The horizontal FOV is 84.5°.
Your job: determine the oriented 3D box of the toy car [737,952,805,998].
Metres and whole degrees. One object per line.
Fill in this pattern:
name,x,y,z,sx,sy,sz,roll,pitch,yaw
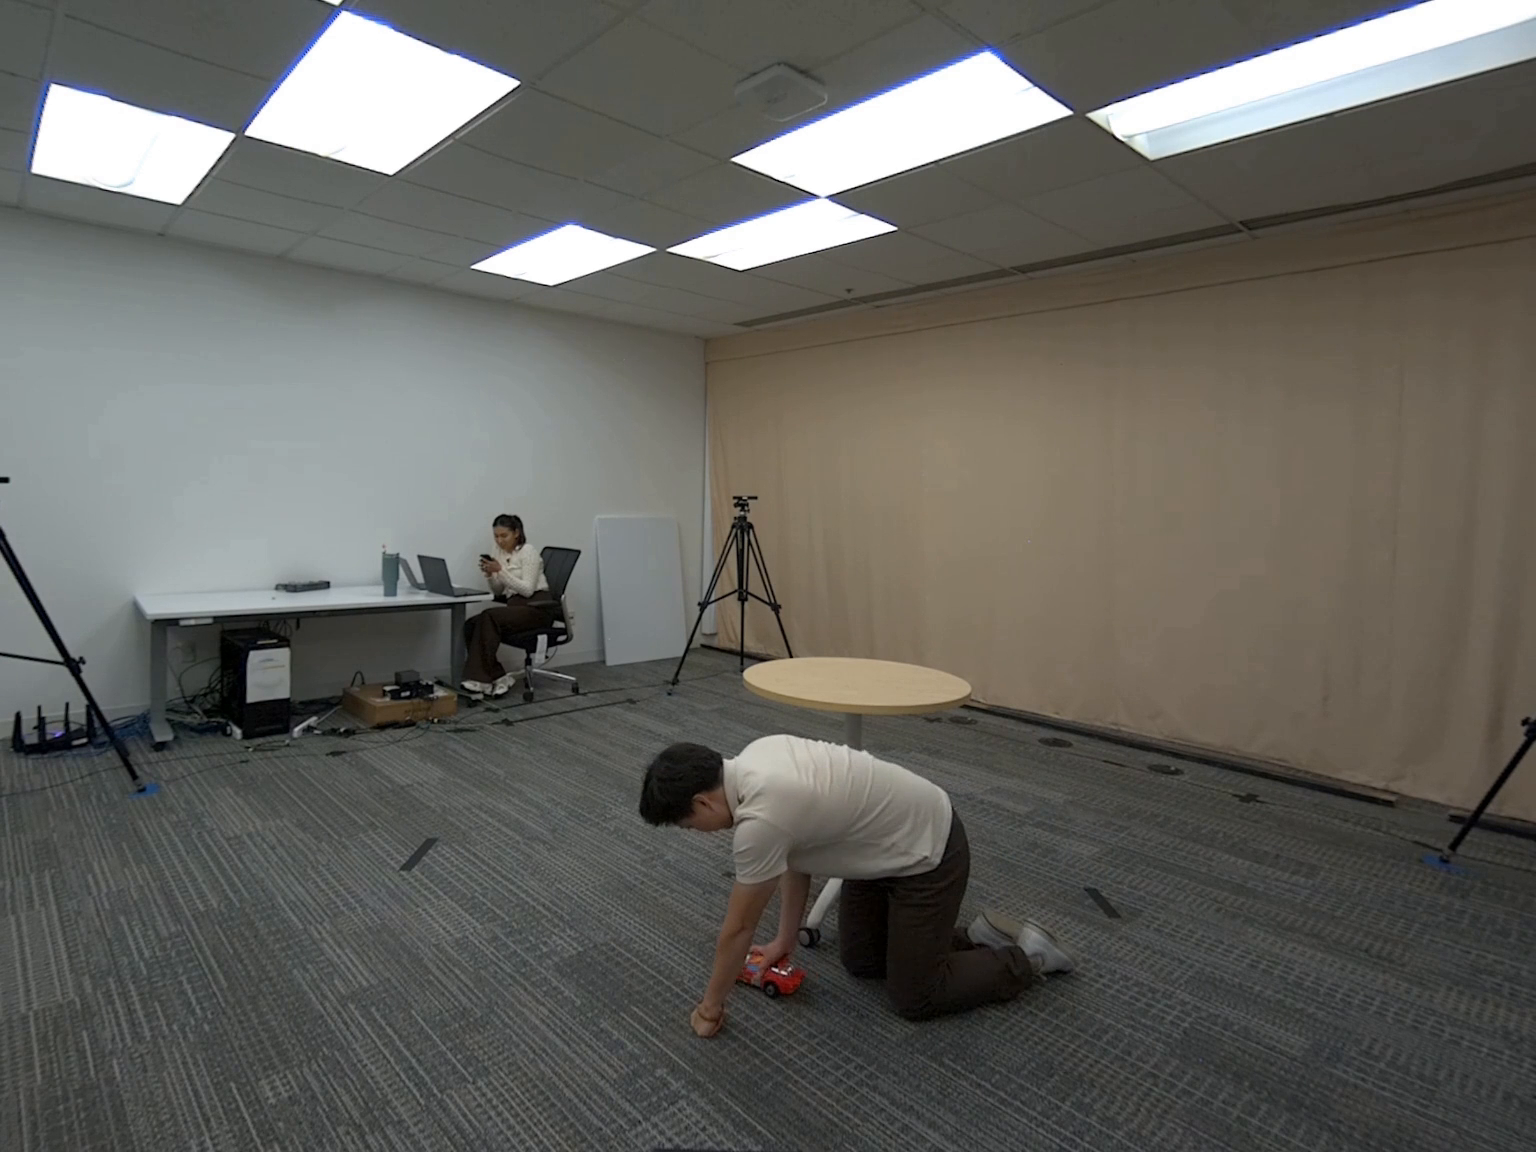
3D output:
toy car,-0.028,1.138,2.424,0.259,0.083,0.128,-9,-2,32
